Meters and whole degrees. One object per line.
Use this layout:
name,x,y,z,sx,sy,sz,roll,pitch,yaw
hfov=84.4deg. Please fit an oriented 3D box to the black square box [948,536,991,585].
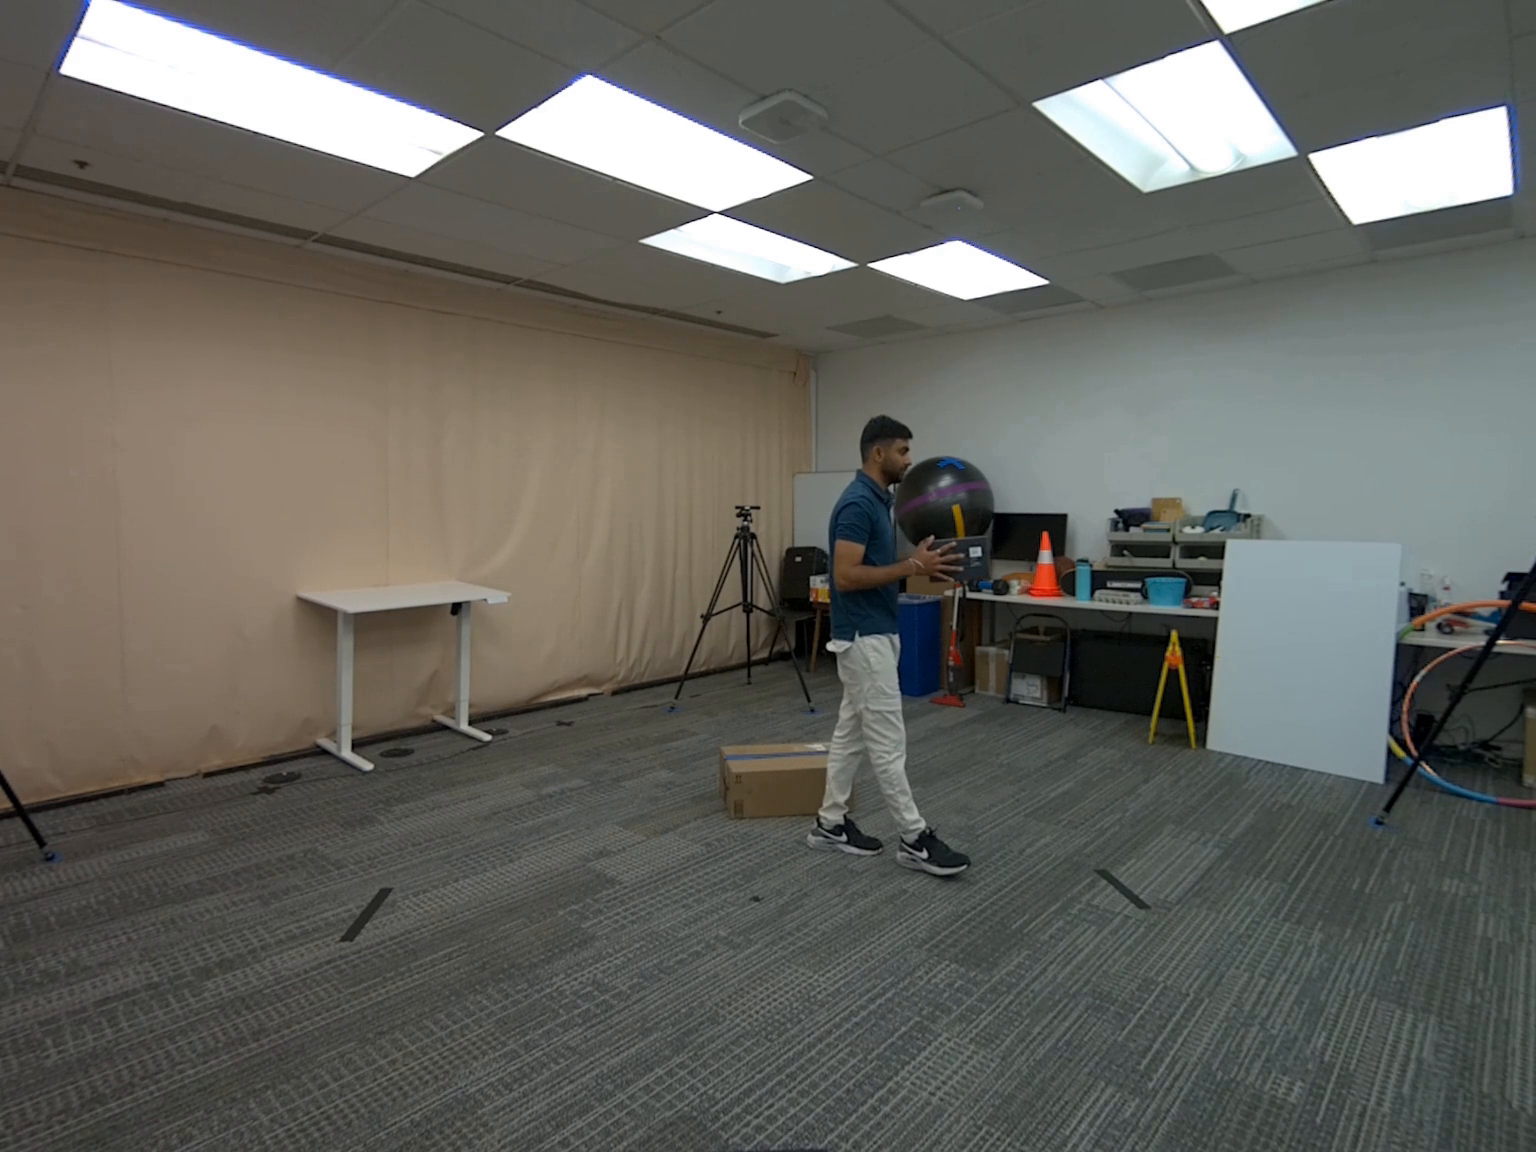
black square box,0.721,-0.066,3.198,0.219,0.156,0.226,-5,3,10
